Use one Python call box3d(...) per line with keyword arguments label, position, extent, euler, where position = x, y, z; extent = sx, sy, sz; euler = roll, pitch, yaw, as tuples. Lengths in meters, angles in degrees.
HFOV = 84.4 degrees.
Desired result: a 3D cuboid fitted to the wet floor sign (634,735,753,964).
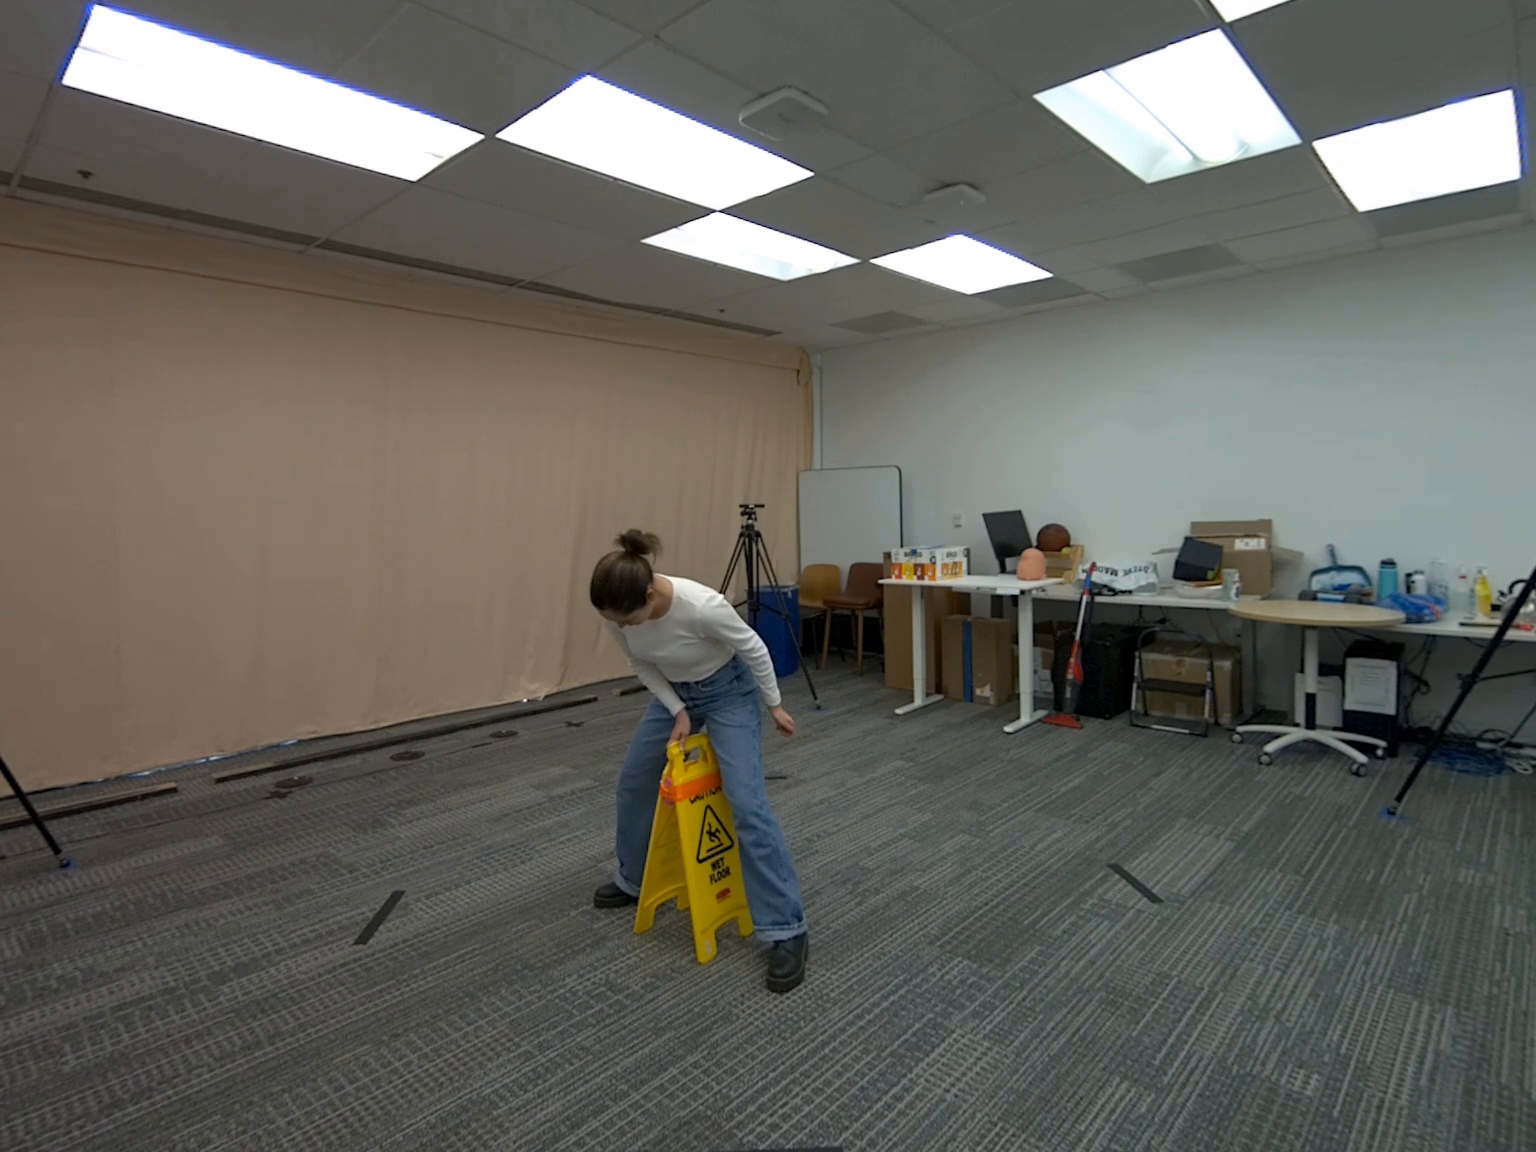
box3d(label="wet floor sign", position=(-0.242, 0.849, 2.735), extent=(0.299, 0.645, 0.274), euler=(0, 4, 39))
